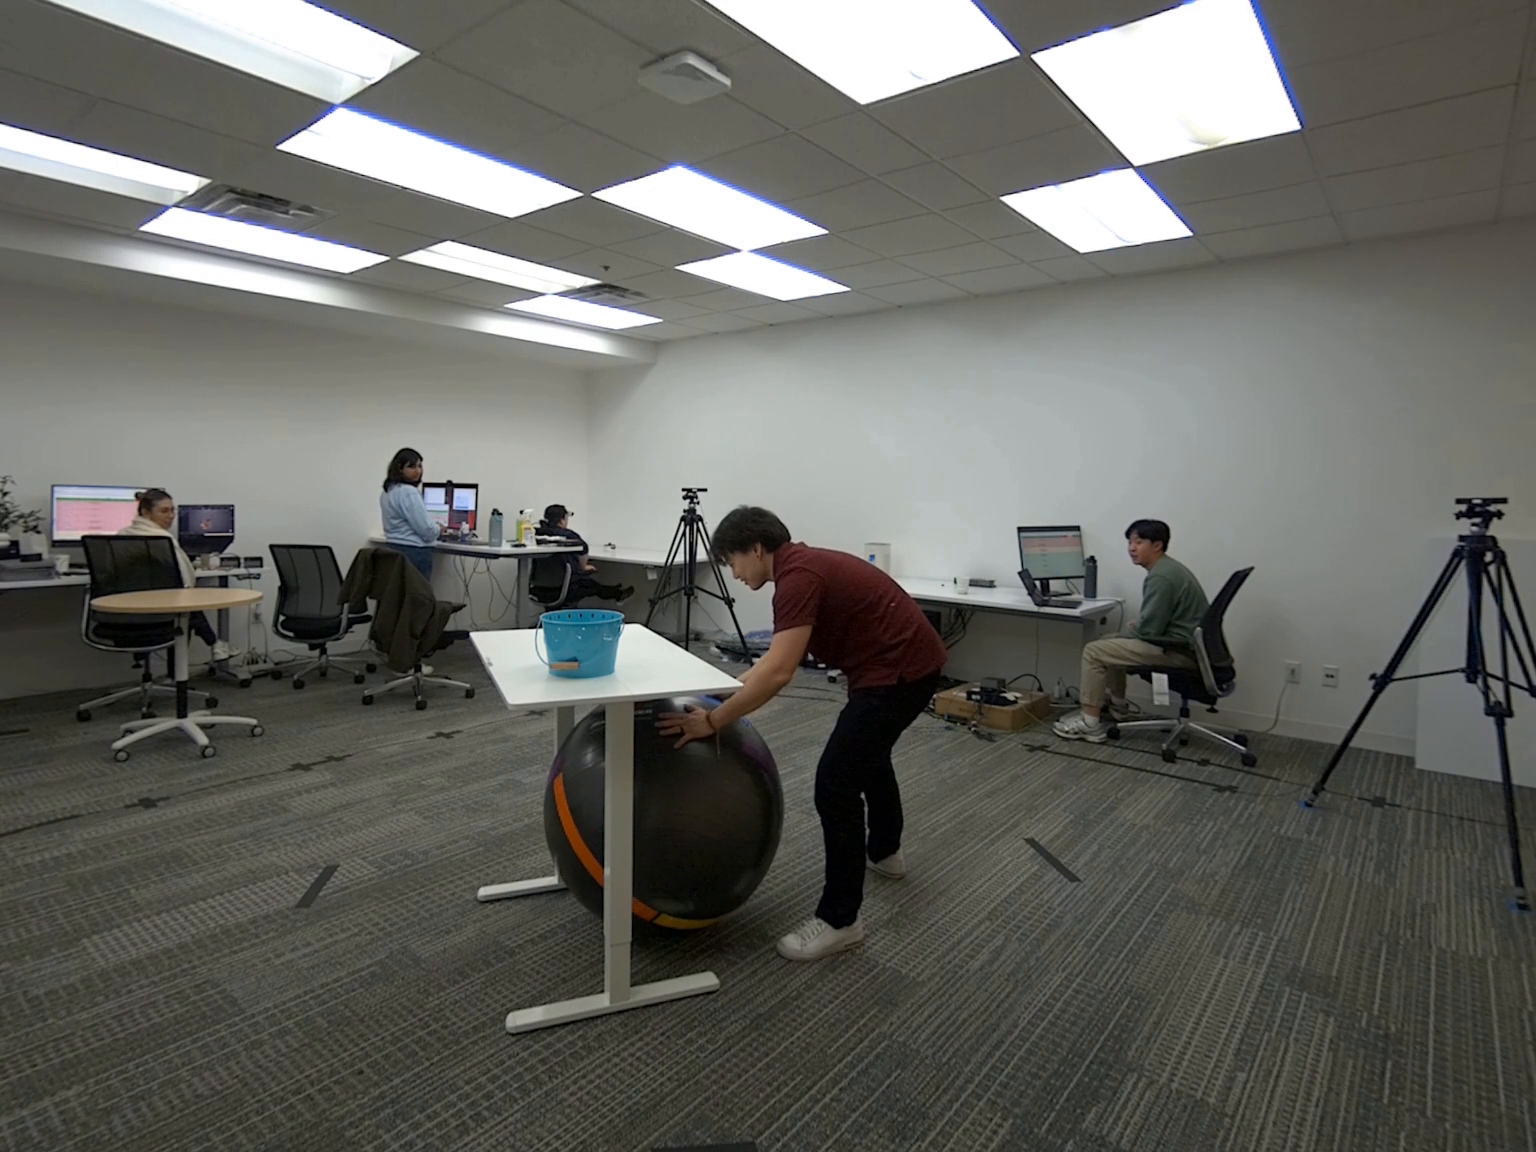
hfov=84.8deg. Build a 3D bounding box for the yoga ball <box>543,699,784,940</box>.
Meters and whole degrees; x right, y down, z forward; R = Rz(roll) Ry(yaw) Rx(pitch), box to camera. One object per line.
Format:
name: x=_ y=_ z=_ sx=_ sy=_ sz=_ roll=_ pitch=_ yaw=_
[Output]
yoga ball: x=-0.343 y=0.739 z=2.716 sx=0.757 sy=0.756 sz=0.762 roll=1 pitch=4 yaw=-2
